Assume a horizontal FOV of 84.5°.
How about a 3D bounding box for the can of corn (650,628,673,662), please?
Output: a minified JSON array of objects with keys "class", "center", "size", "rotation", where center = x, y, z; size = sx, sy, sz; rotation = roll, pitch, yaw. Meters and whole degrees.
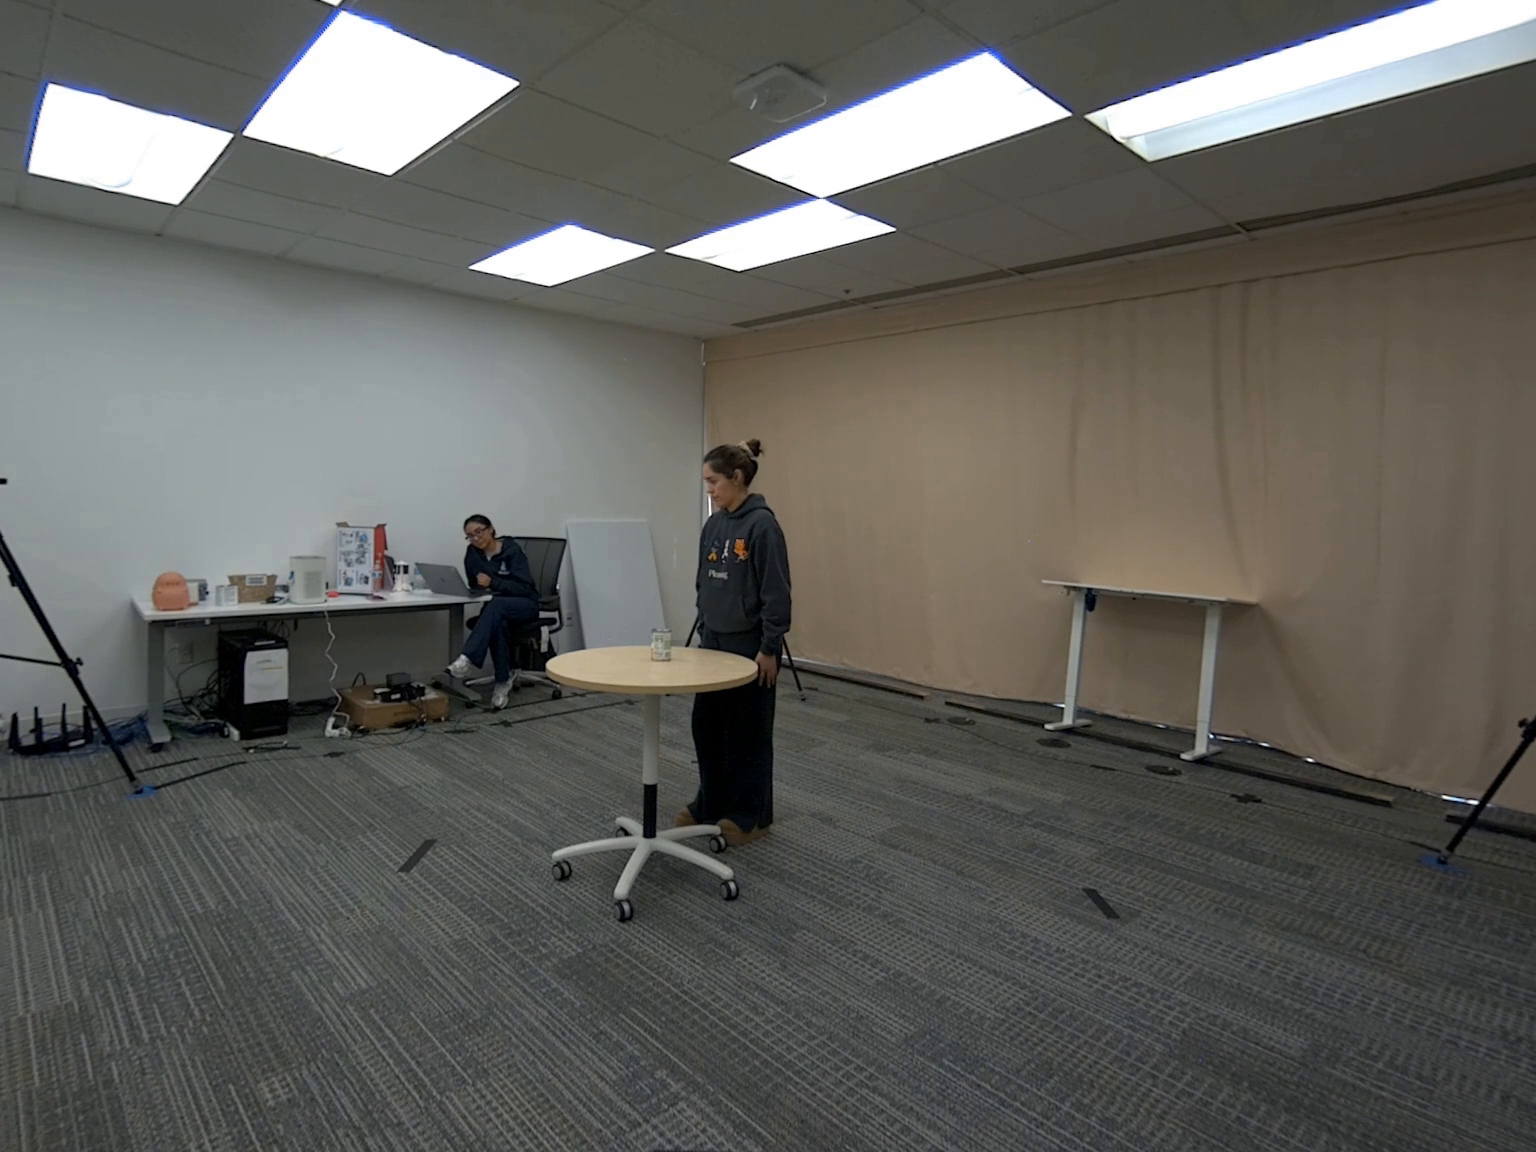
[{"class":"can of corn","center":[-0.408,0.262,3.145],"size":[0.074,0.111,0.074],"rotation":[2,4,-2]}]
